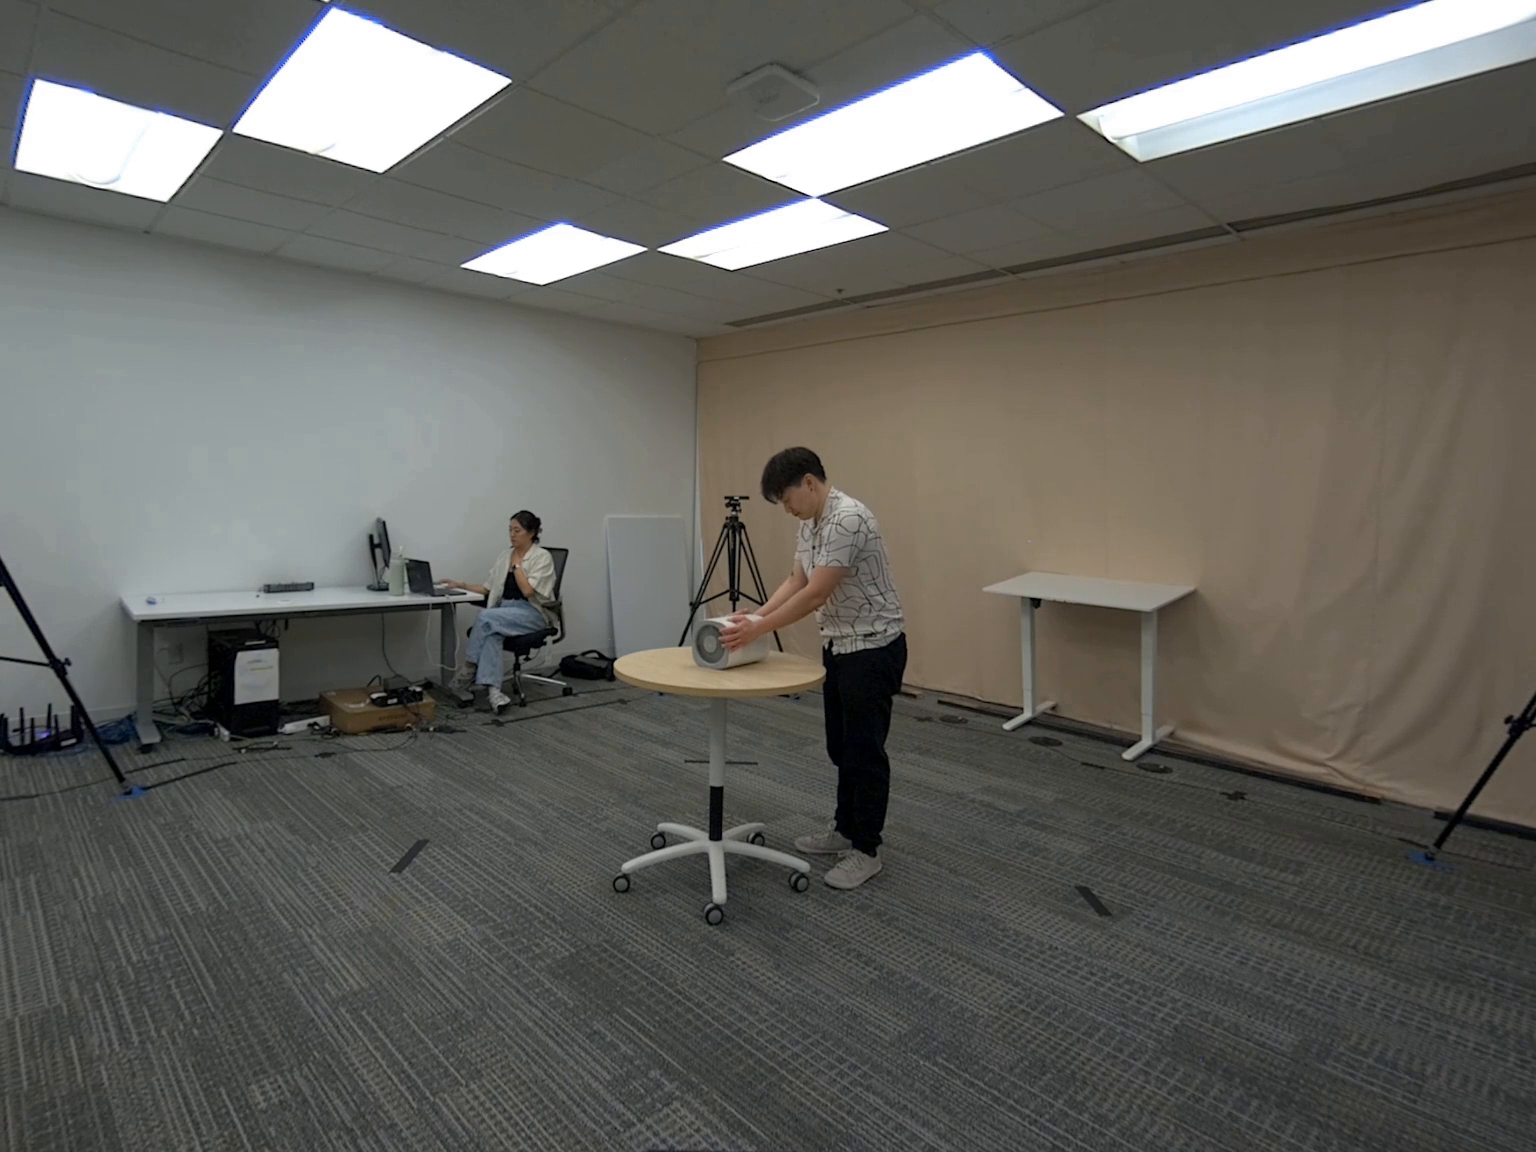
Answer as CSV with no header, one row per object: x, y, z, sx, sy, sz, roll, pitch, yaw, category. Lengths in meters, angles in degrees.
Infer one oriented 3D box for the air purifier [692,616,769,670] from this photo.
-0.133,0.234,3.081,0.175,0.171,0.259,5,6,38,air purifier
